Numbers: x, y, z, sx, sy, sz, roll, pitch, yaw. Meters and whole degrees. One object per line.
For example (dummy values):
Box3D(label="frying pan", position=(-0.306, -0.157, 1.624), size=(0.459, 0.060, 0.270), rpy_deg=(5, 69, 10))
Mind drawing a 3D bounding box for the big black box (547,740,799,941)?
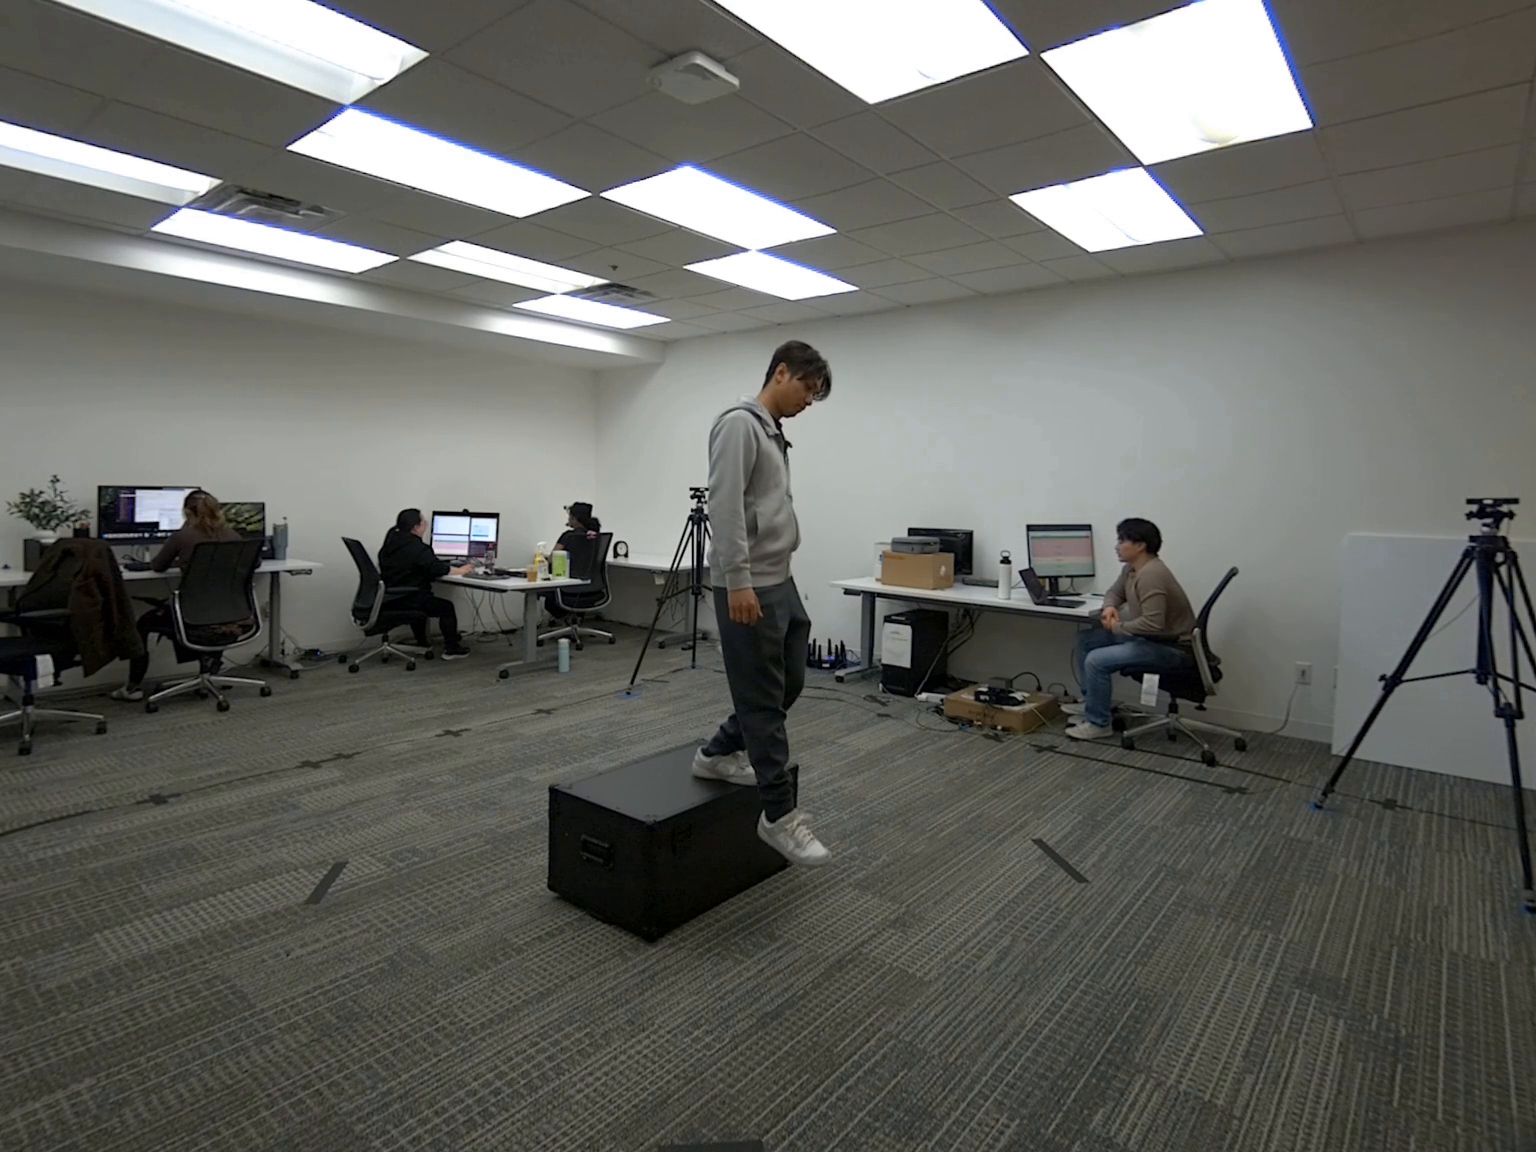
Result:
Box3D(label="big black box", position=(-0.306, 0.882, 3.029), size=(0.539, 0.394, 0.837), rpy_deg=(5, 7, 37))
